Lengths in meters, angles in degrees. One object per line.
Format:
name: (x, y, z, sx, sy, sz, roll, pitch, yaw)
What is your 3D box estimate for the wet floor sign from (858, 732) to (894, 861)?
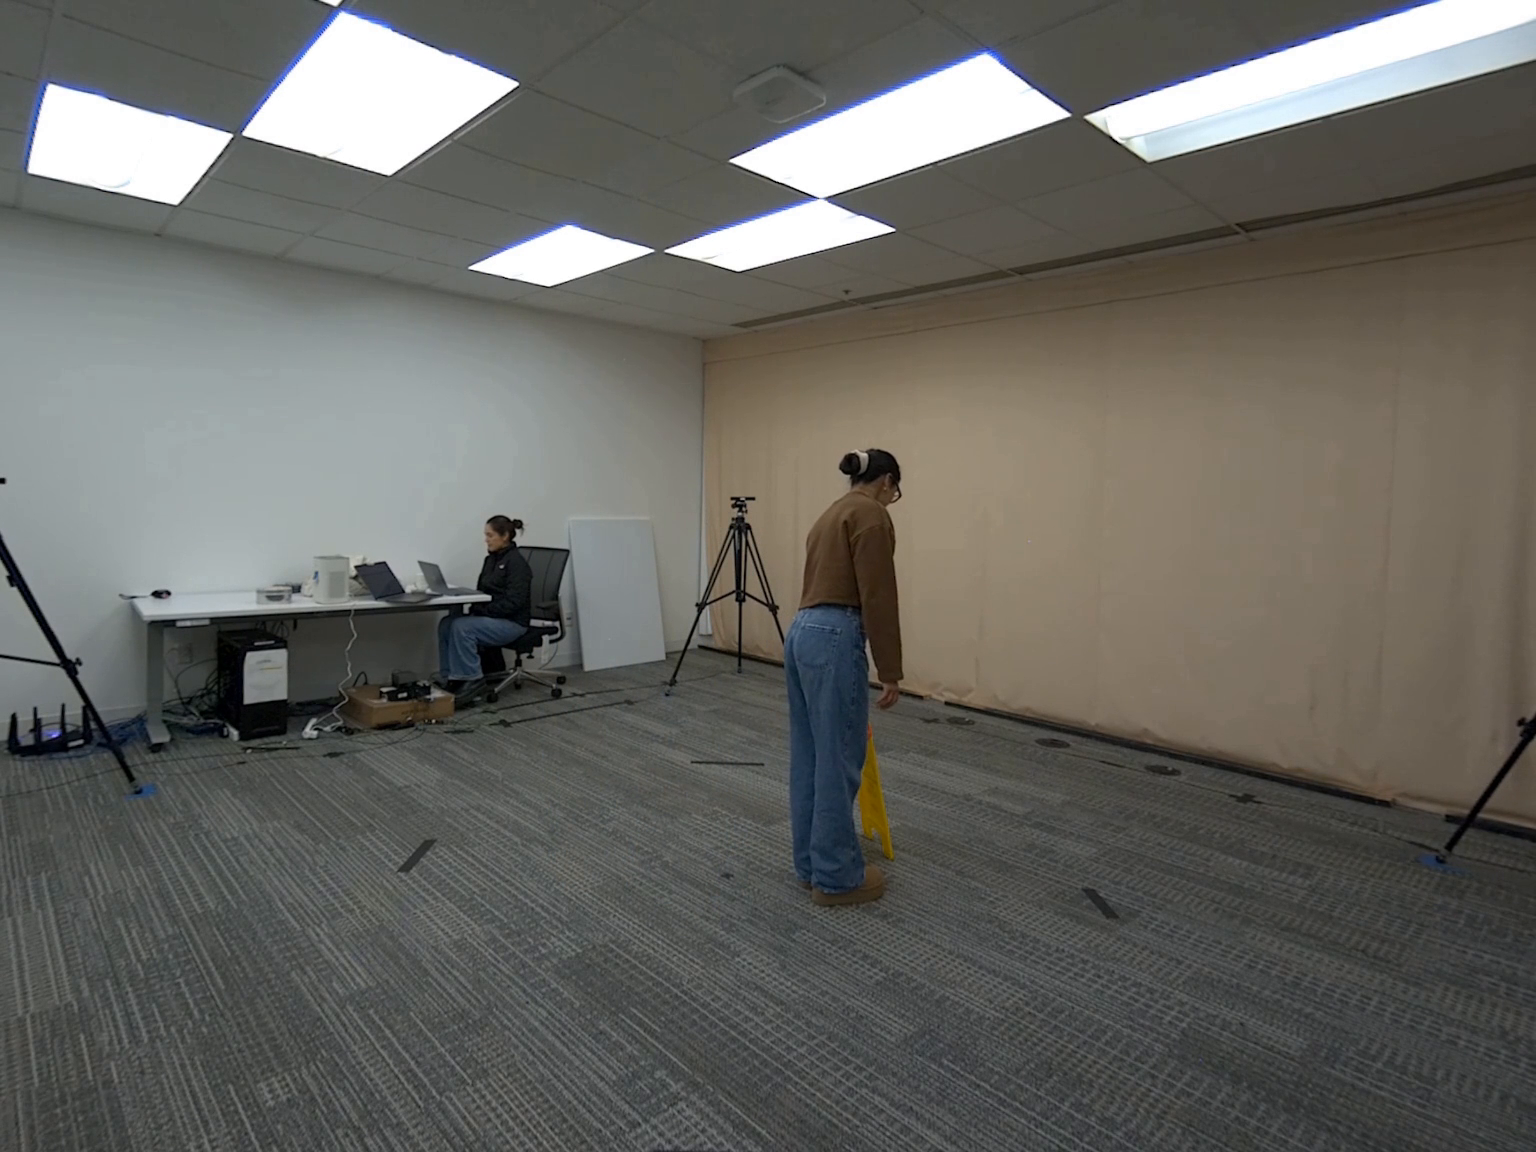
wet floor sign: (0.326, 0.771, 3.366, 0.287, 0.645, 0.286, 1, 3, -13)
